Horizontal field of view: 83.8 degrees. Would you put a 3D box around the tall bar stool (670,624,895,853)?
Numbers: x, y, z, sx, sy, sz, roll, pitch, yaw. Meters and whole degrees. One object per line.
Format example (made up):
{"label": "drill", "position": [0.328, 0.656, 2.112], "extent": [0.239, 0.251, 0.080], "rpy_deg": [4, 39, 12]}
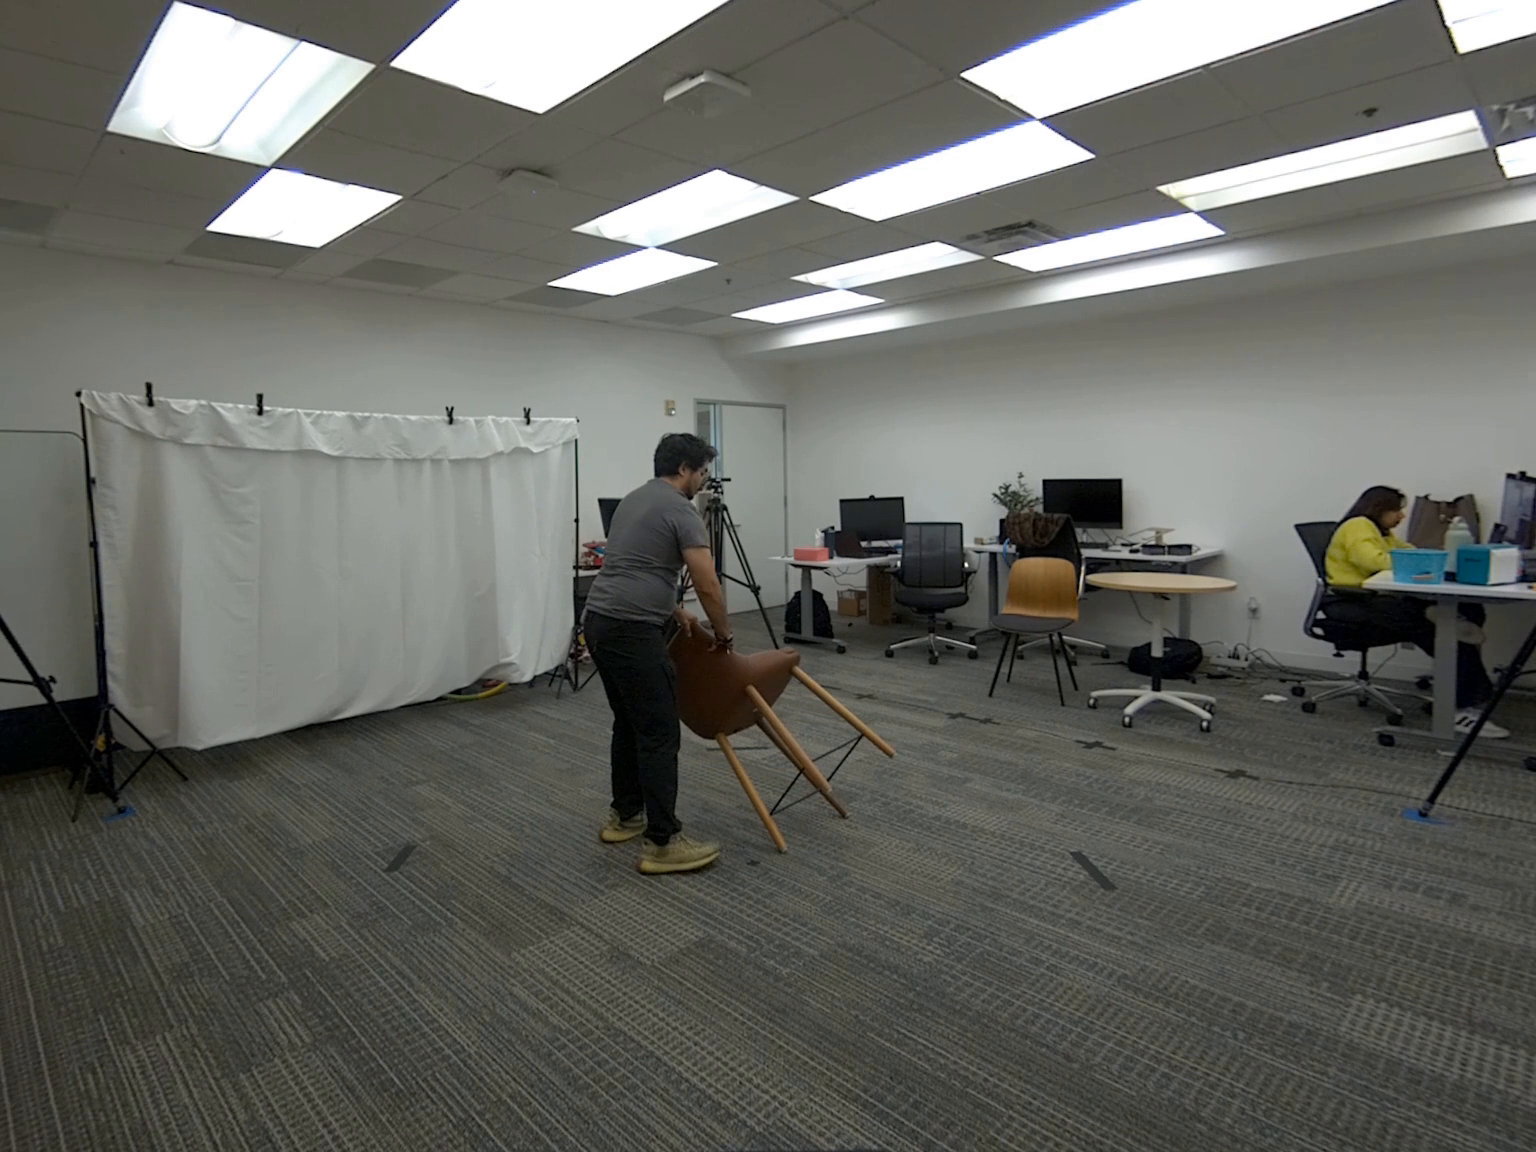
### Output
{"label": "tall bar stool", "position": [-0.003, 0.587, 3.469], "extent": [0.918, 0.452, 0.457], "rpy_deg": [45, 33, 26]}
